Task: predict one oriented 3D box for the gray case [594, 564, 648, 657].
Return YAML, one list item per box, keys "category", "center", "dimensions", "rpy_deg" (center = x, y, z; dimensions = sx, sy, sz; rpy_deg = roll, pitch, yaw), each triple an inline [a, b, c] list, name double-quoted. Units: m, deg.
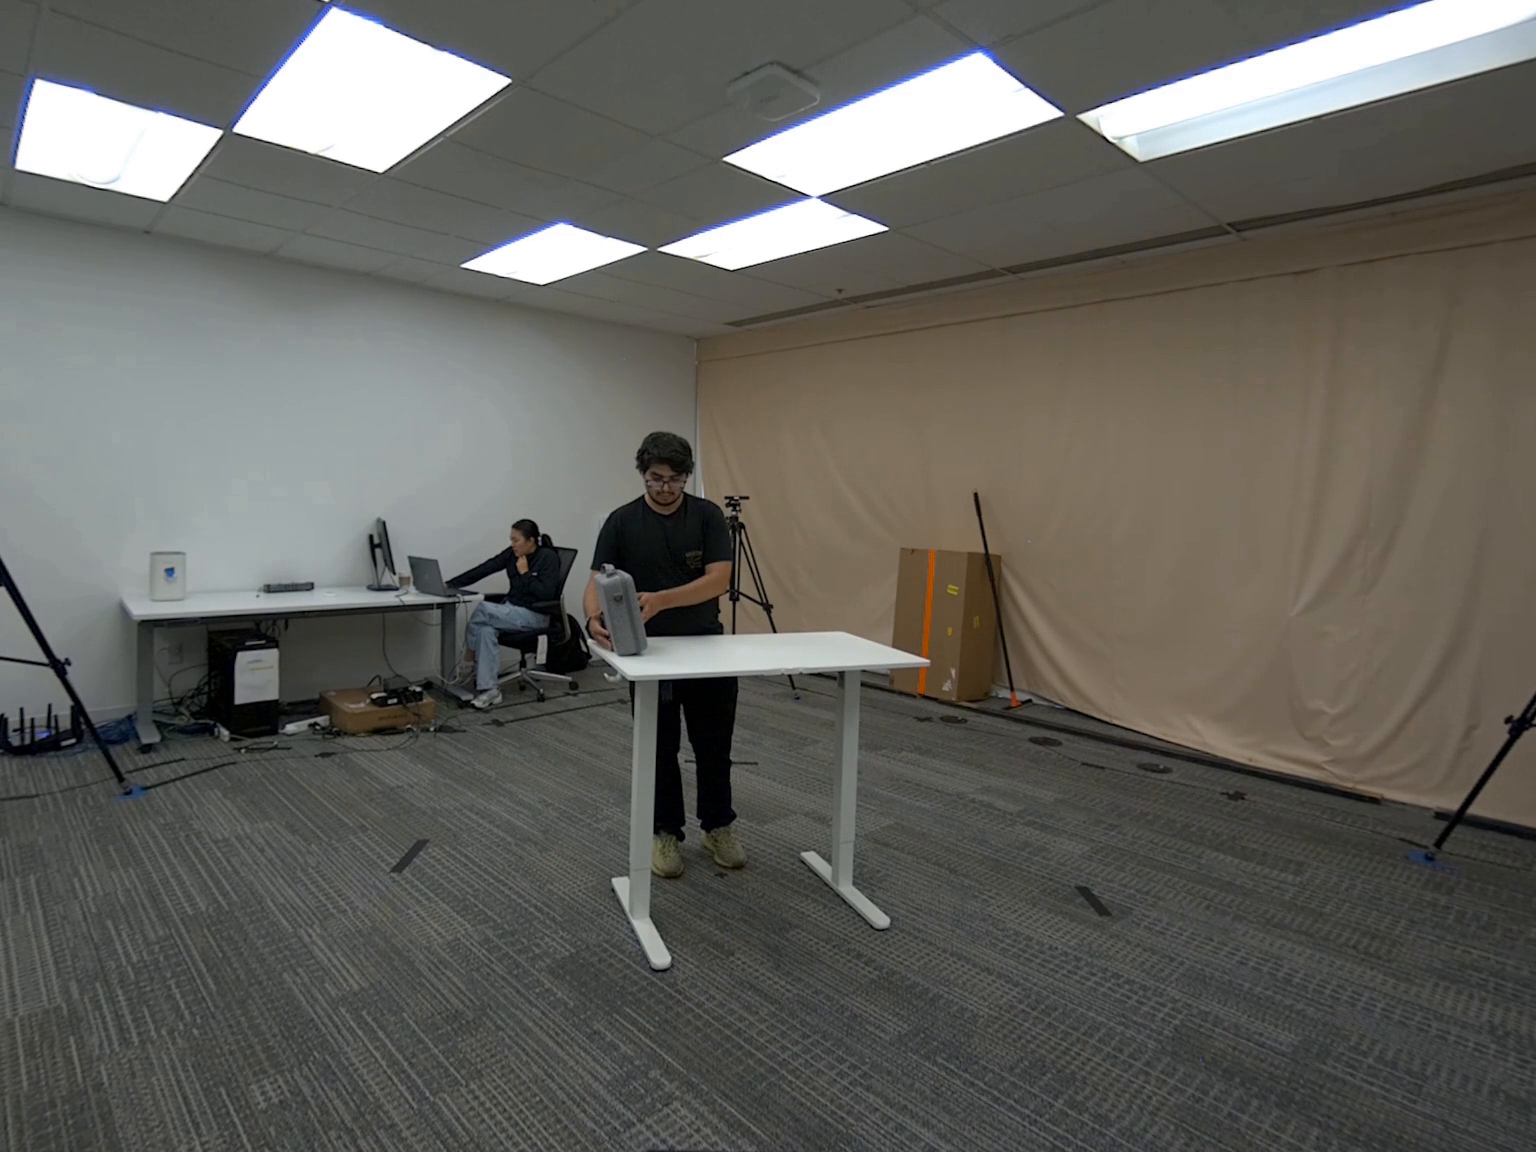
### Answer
- category: "gray case"
  center: [-0.497, 0.118, 2.729]
  dimensions: [0.103, 0.259, 0.261]
  rpy_deg: [-9, 8, -16]
